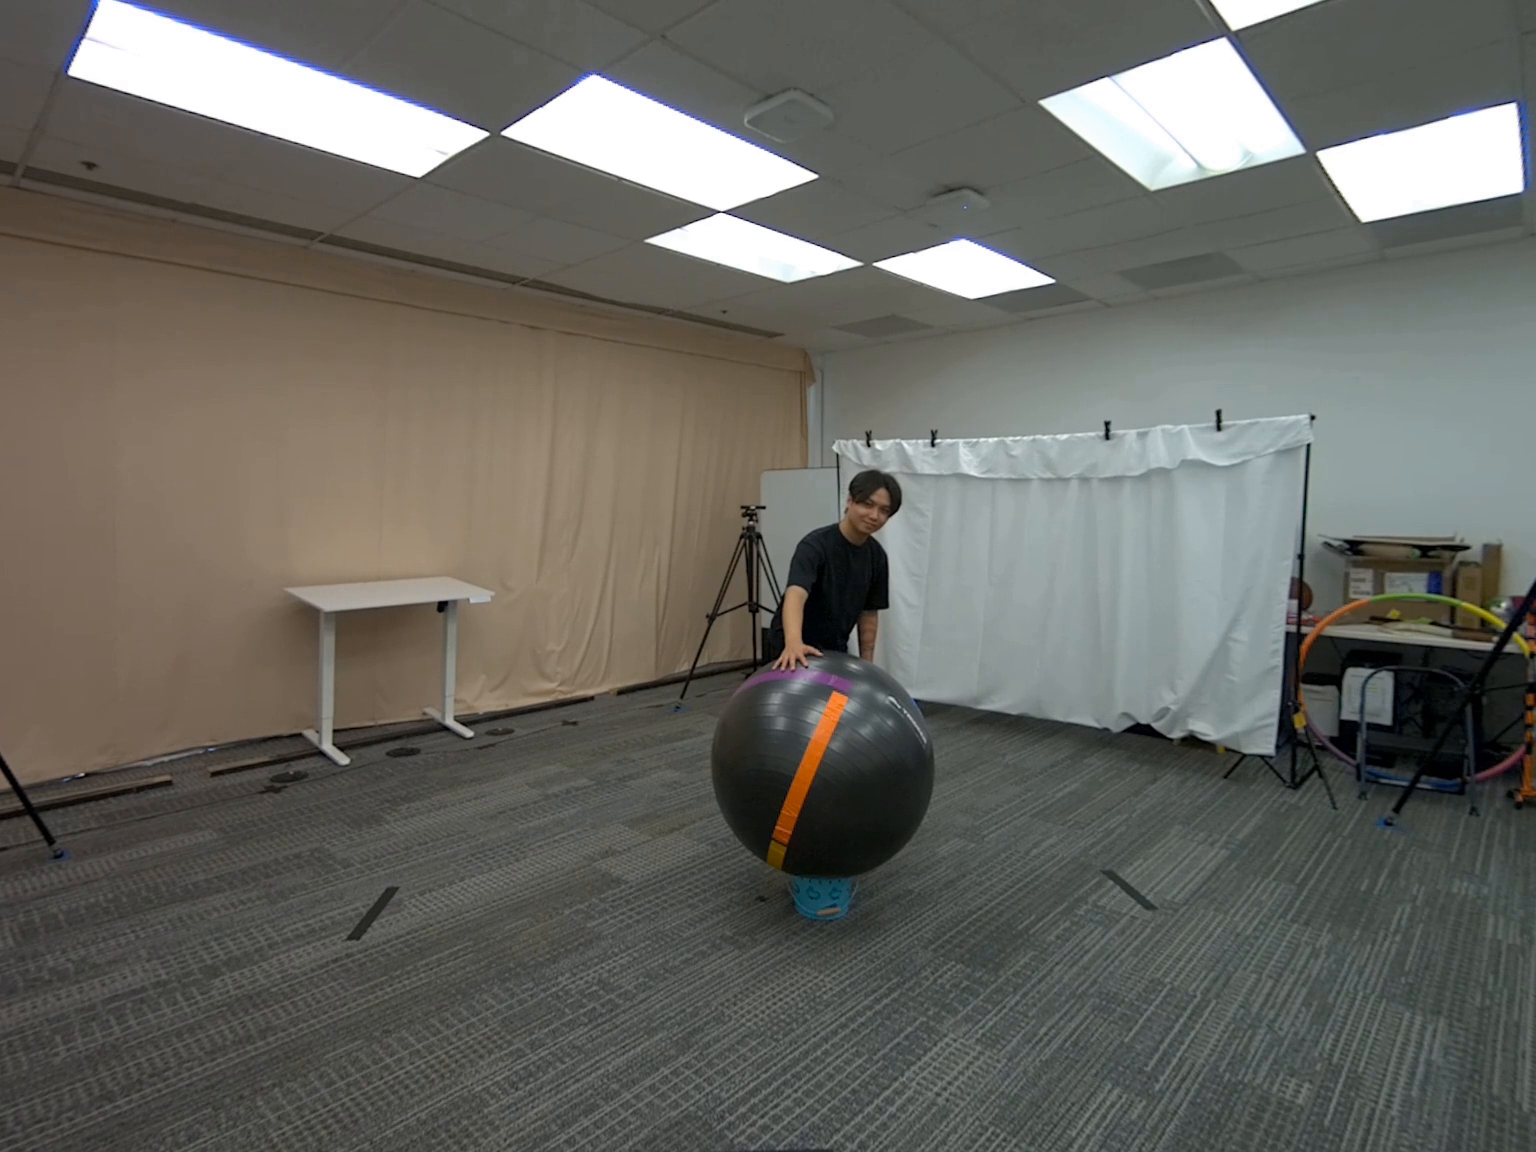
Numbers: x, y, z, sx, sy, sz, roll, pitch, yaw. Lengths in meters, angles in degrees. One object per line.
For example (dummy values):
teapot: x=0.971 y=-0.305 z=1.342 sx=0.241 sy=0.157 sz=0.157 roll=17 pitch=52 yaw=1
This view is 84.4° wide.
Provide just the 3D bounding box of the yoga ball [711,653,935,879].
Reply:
yoga ball: x=0.184 y=0.641 z=2.887 sx=0.757 sy=0.756 sz=0.760 roll=0 pitch=4 yaw=-2
